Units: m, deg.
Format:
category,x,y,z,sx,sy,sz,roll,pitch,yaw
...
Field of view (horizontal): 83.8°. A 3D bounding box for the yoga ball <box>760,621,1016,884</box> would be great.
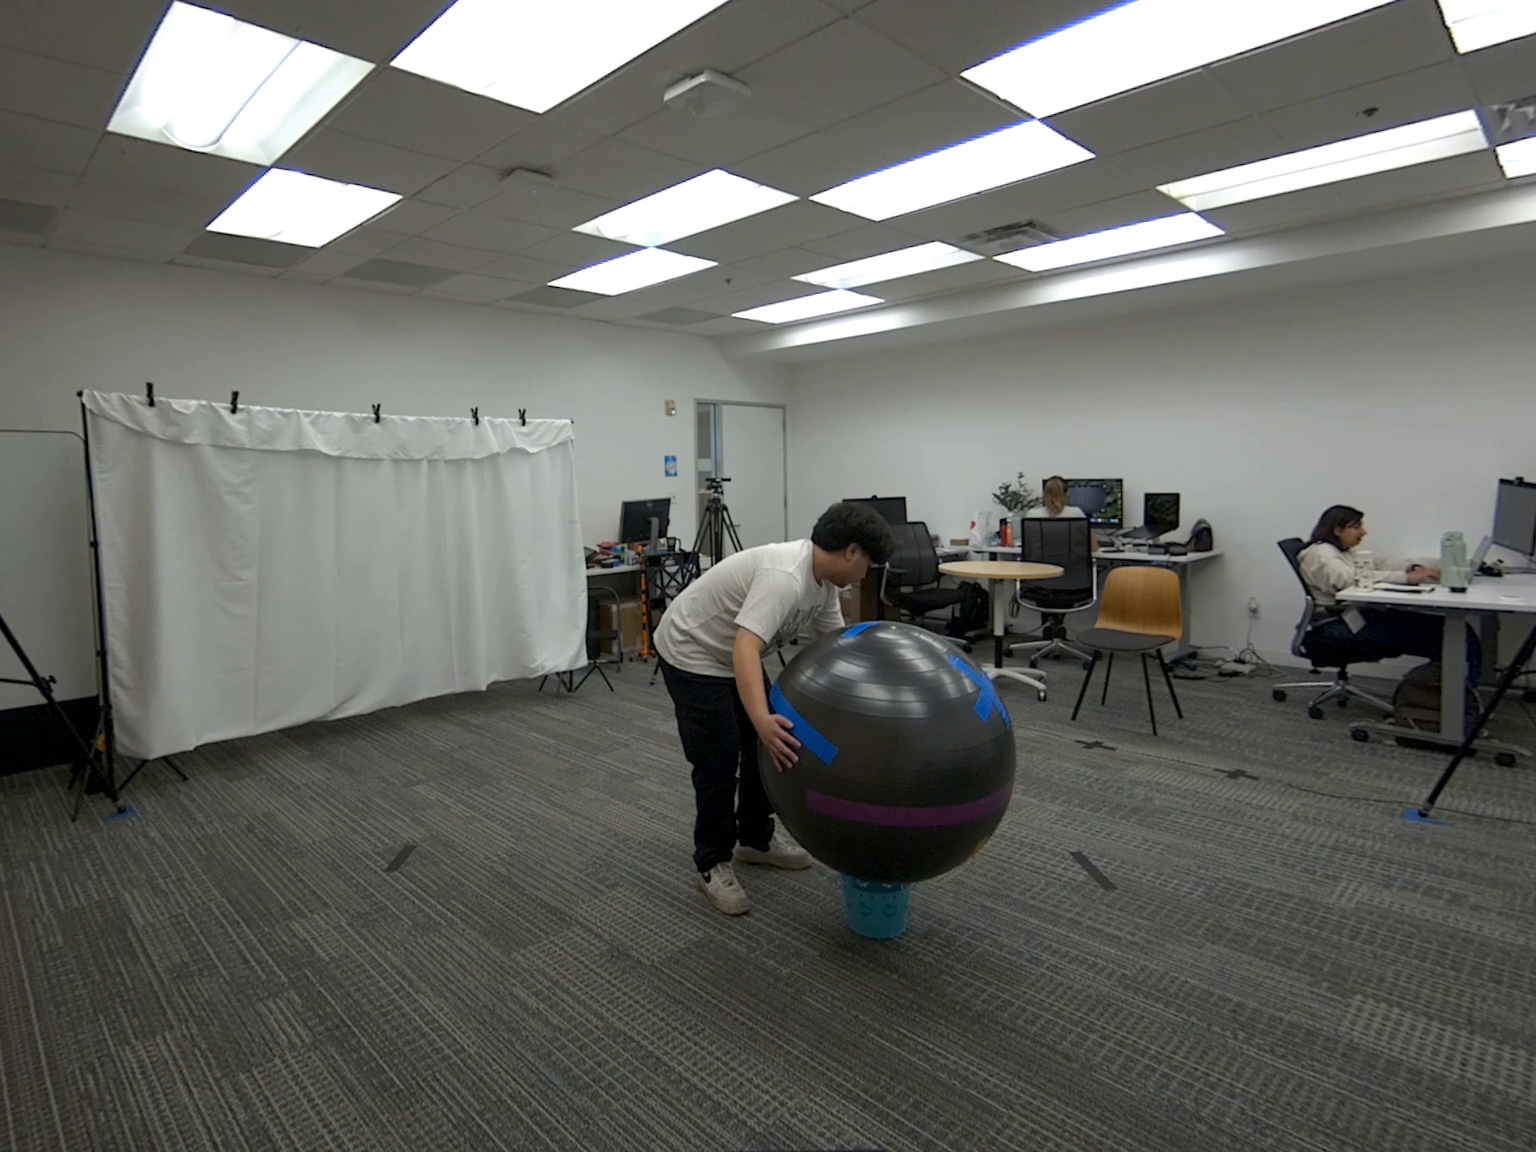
category,x,y,z,sx,sy,sz,roll,pitch,yaw
yoga ball,0.363,0.532,2.544,0.757,0.755,0.762,-1,5,-2
